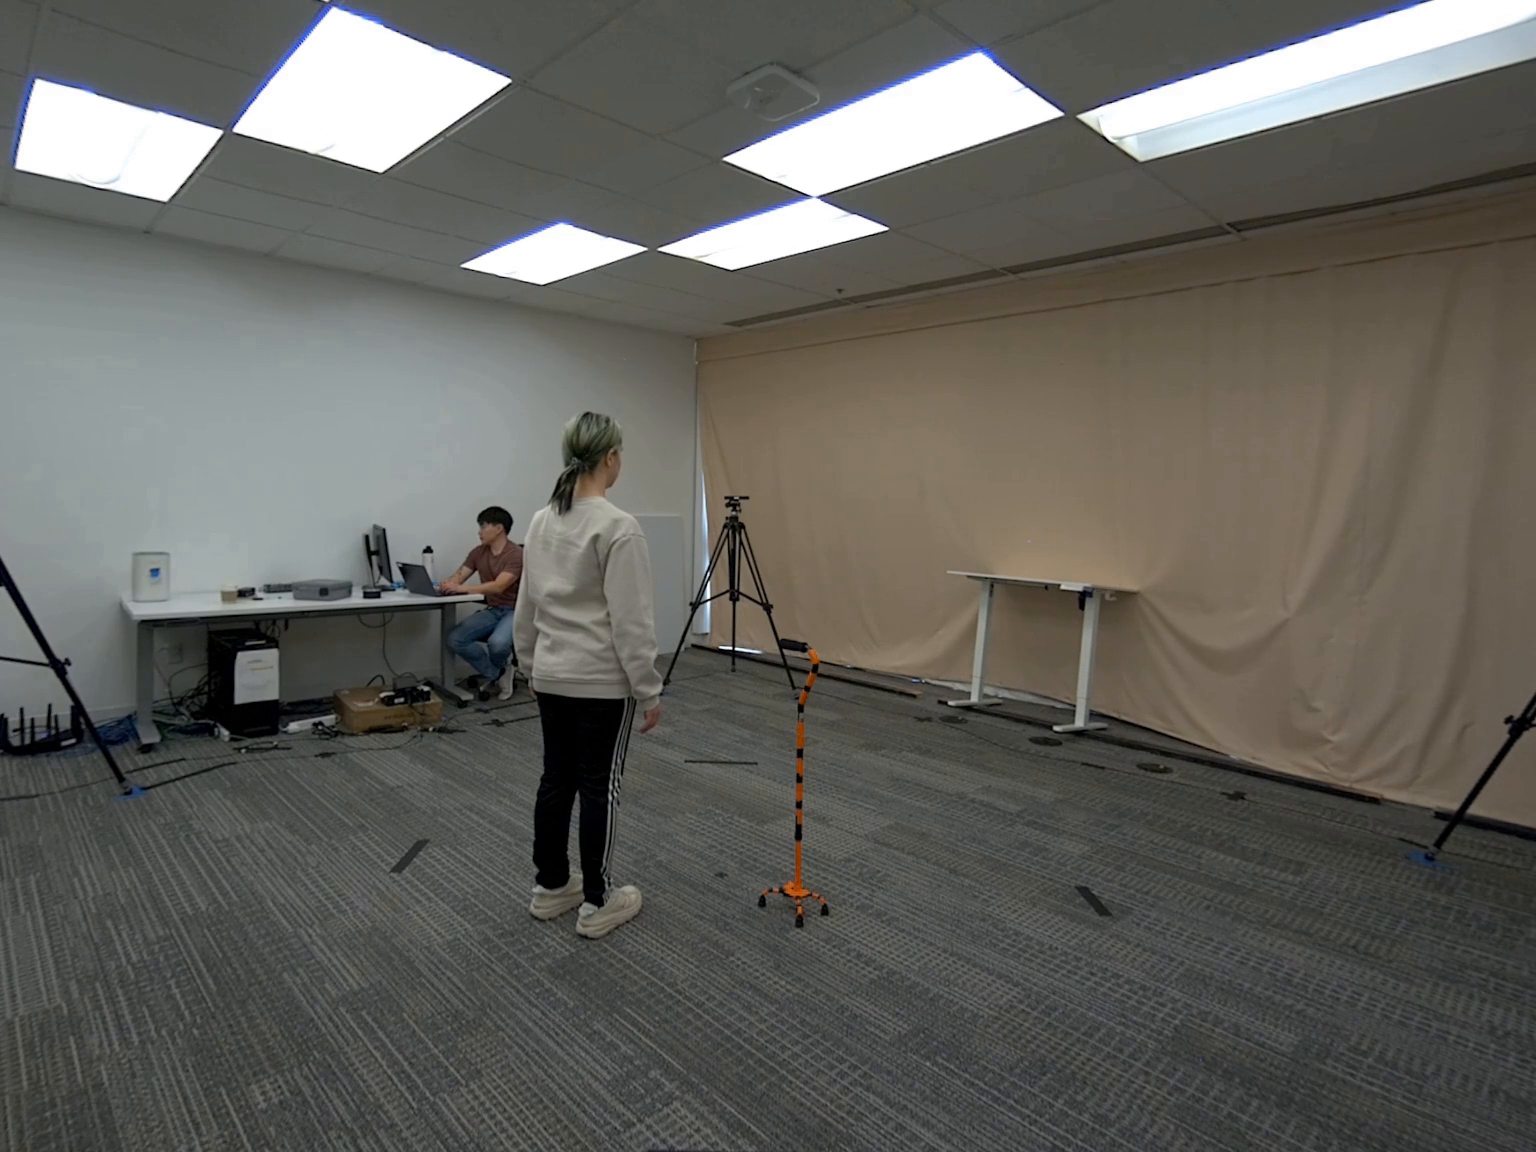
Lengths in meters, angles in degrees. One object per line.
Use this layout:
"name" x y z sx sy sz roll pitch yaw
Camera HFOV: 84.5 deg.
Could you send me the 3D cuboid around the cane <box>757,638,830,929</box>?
"cane" 0.089 0.677 2.836 0.148 0.906 0.211 0 3 -42
